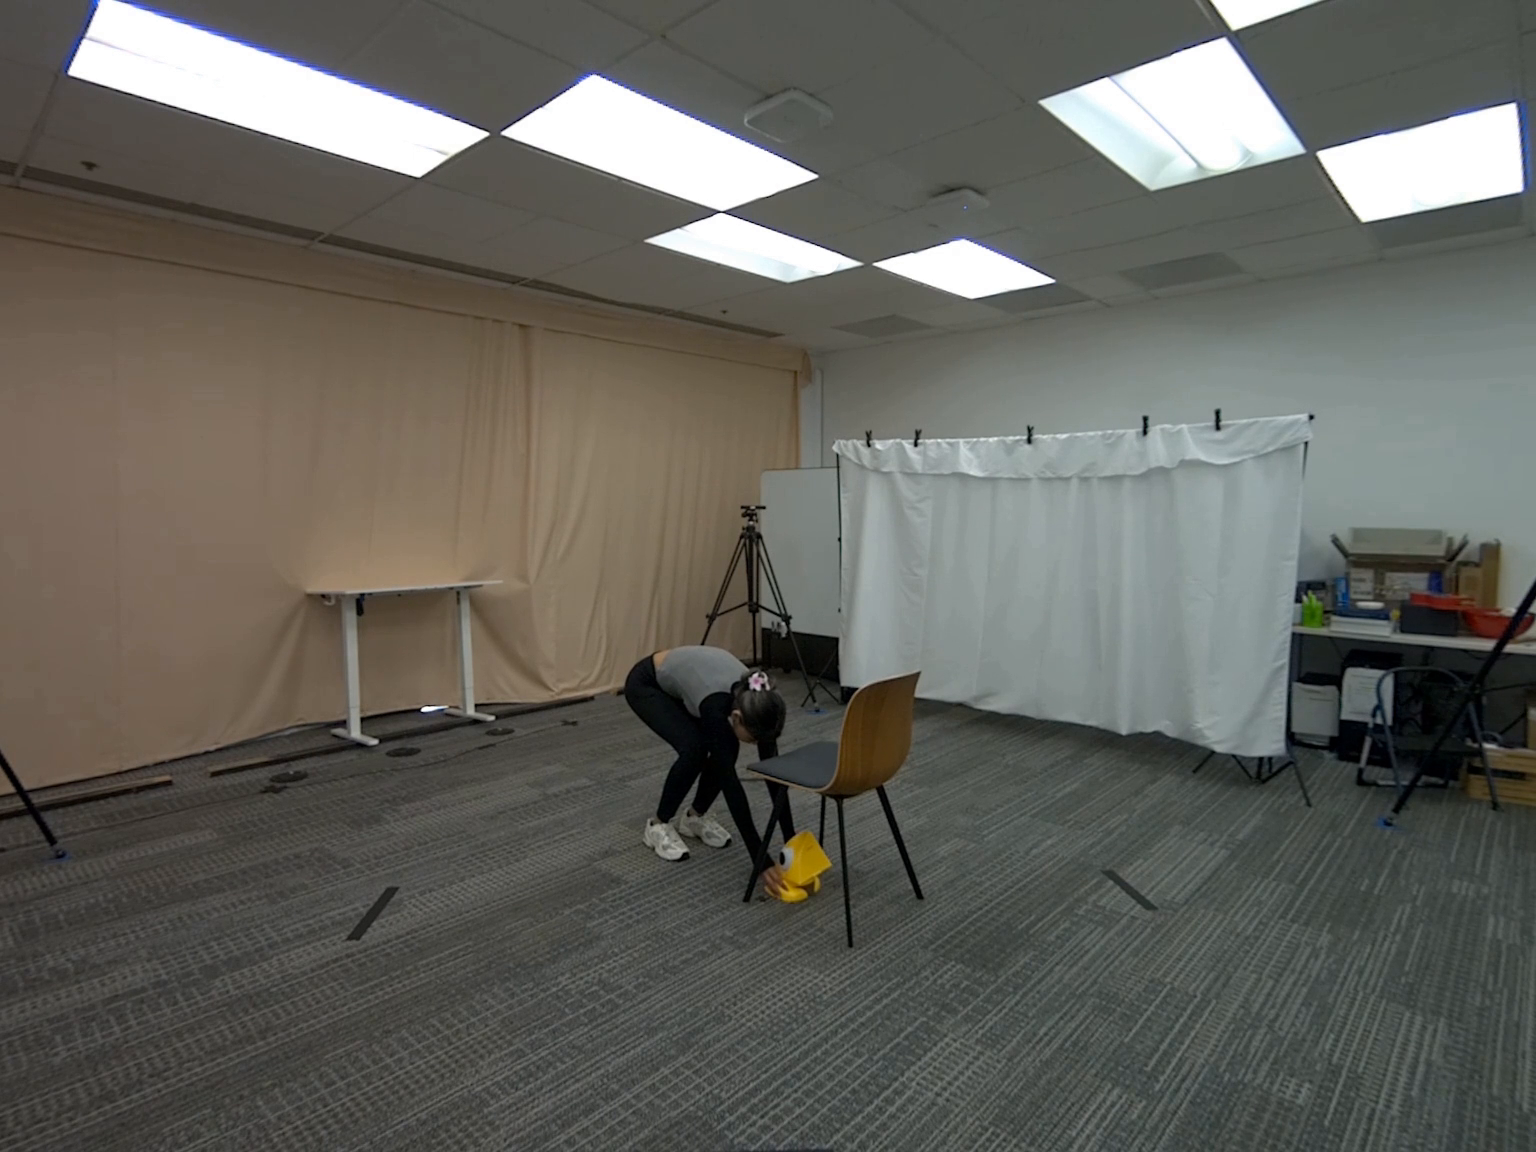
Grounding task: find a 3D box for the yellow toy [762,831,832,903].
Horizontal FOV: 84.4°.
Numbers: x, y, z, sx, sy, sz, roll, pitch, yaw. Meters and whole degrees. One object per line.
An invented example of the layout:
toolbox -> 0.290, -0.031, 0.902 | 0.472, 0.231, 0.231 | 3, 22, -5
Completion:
yellow toy -> 0.098, 1.028, 3.053 | 0.199, 0.230, 0.198 | 3, 5, 39
